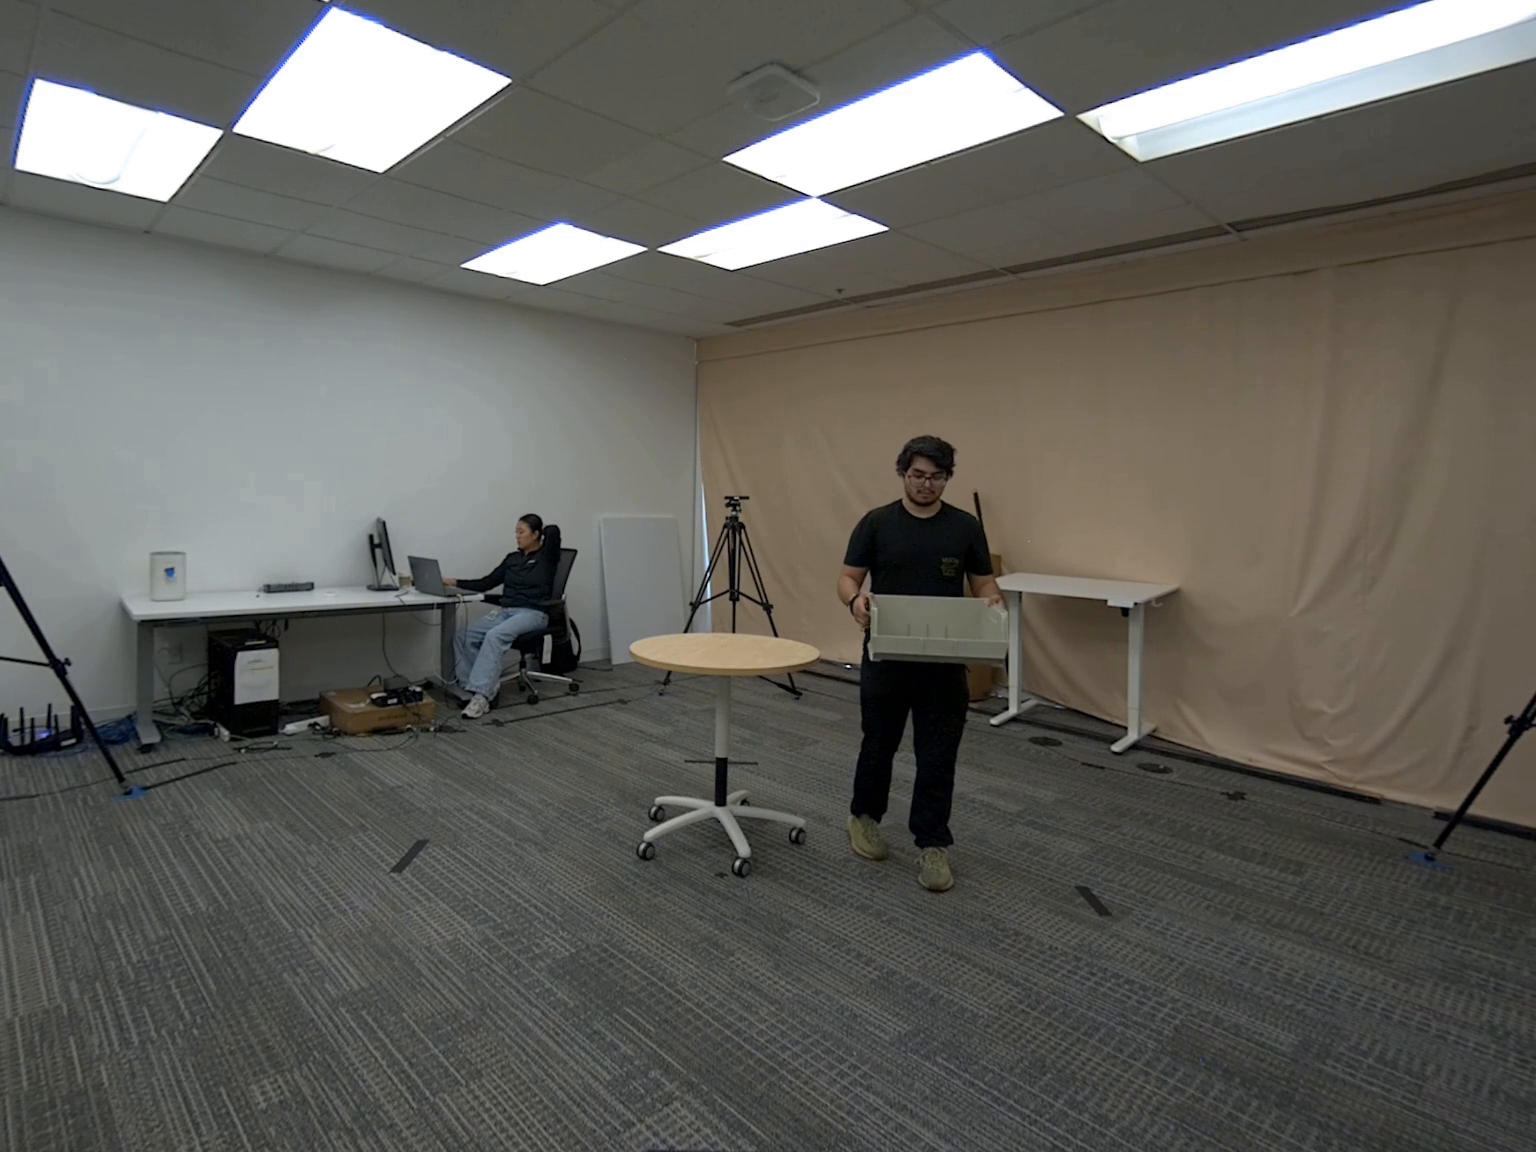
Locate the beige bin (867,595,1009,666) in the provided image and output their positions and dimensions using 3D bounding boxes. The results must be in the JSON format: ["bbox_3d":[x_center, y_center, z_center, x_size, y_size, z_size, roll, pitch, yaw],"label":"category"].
[{"bbox_3d":[0.540,0.183,2.797,0.424,0.188,0.376,2,4,6],"label":"beige bin"}]
